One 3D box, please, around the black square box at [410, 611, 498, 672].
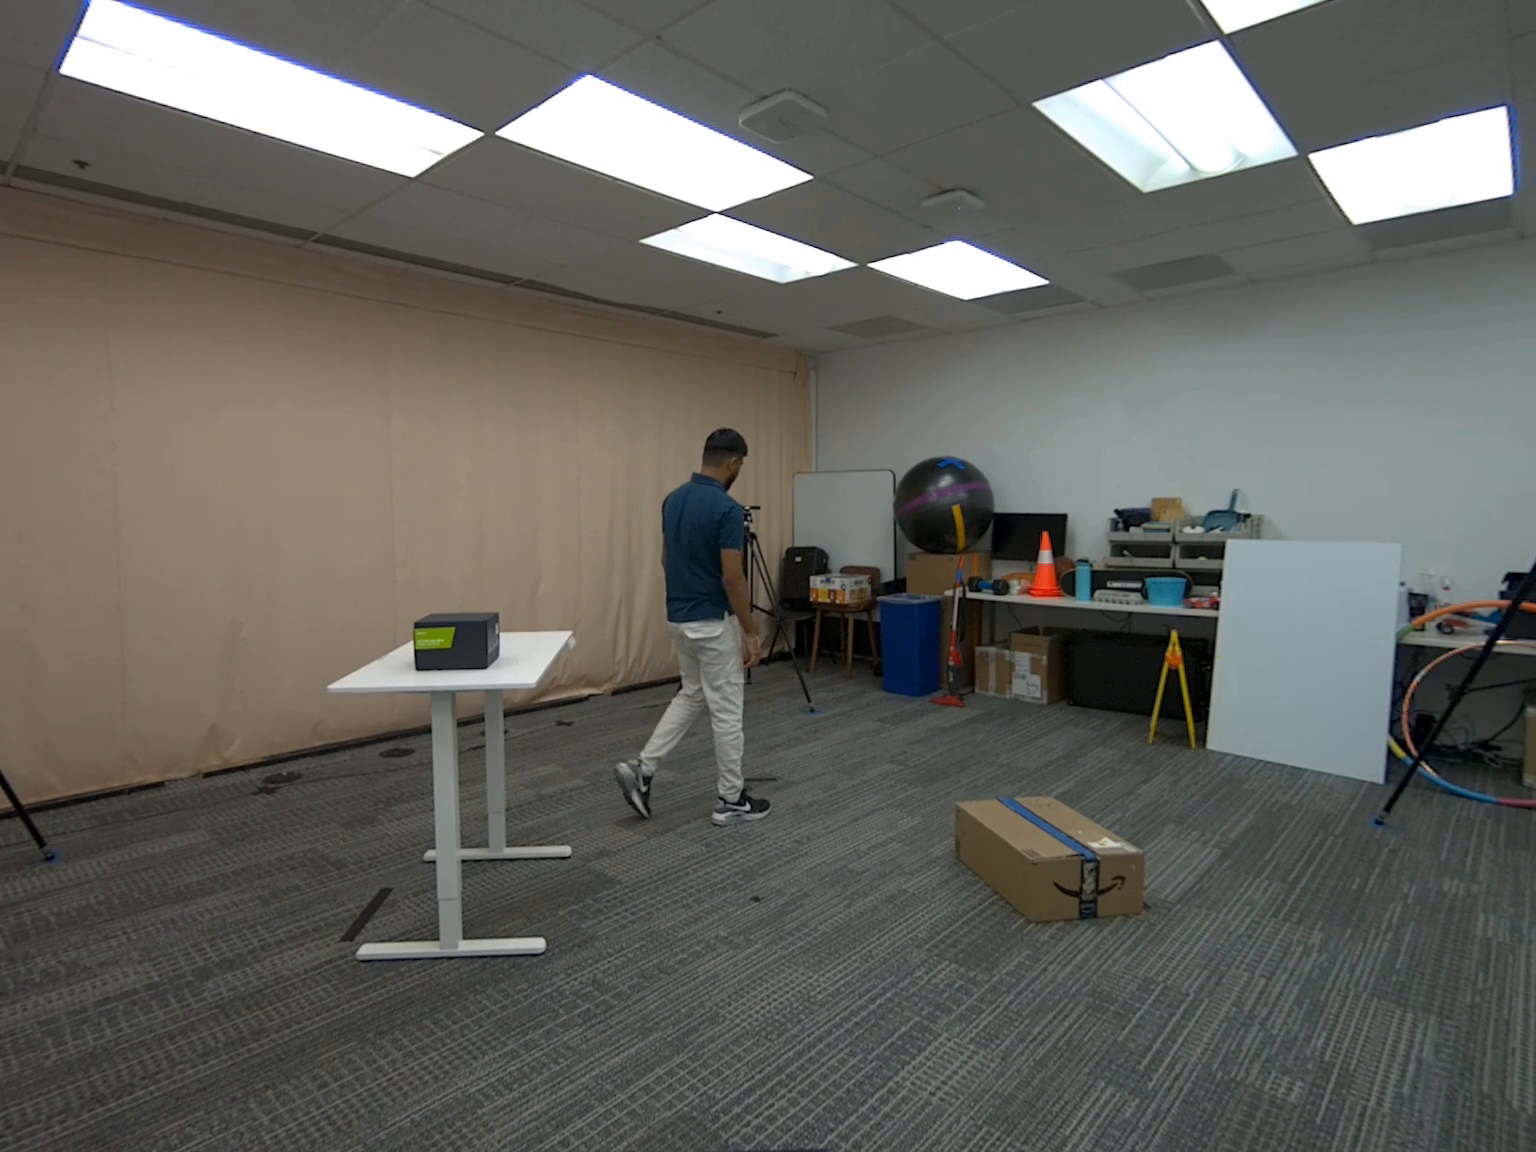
[{"bbox_3d":[-1.025,0.208,2.775,0.226,0.155,0.219,-1,5,-7],"label":"black square box"}]
